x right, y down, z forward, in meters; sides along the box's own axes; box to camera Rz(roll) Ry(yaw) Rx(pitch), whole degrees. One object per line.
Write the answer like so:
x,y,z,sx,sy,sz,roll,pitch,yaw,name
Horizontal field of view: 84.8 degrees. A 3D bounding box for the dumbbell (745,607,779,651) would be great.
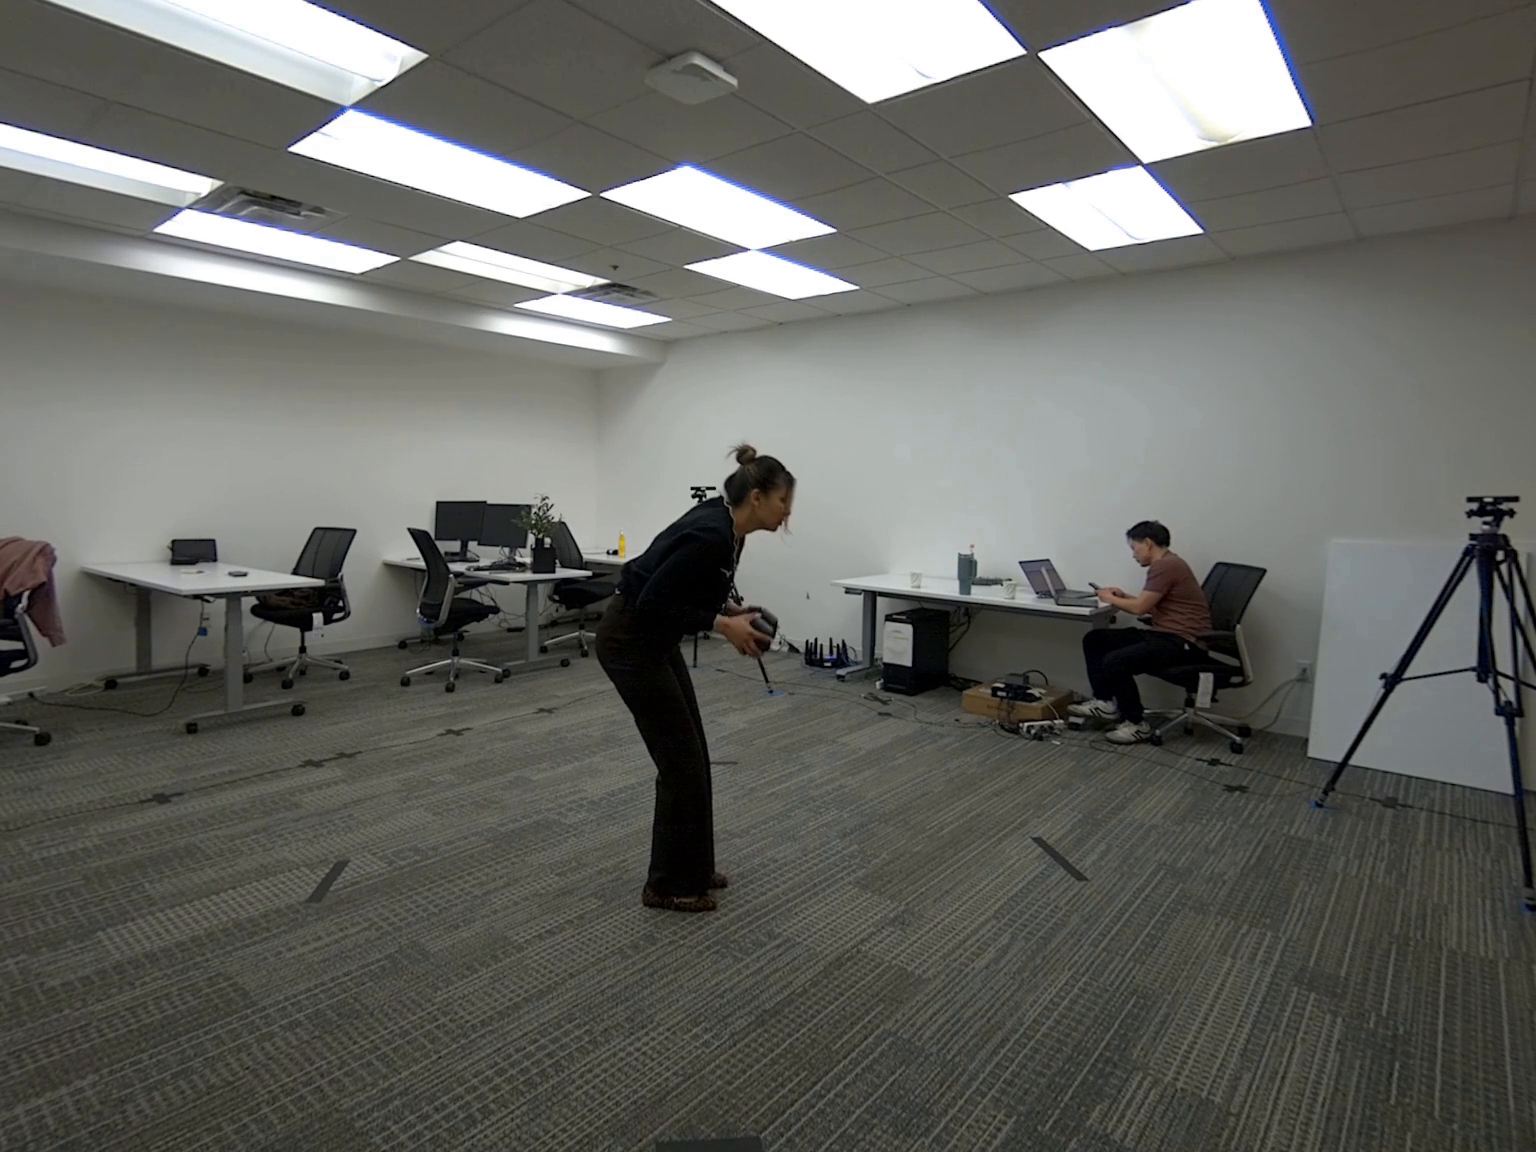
-0.049,0.184,2.812,0.123,0.108,0.292,-17,3,7,dumbbell
